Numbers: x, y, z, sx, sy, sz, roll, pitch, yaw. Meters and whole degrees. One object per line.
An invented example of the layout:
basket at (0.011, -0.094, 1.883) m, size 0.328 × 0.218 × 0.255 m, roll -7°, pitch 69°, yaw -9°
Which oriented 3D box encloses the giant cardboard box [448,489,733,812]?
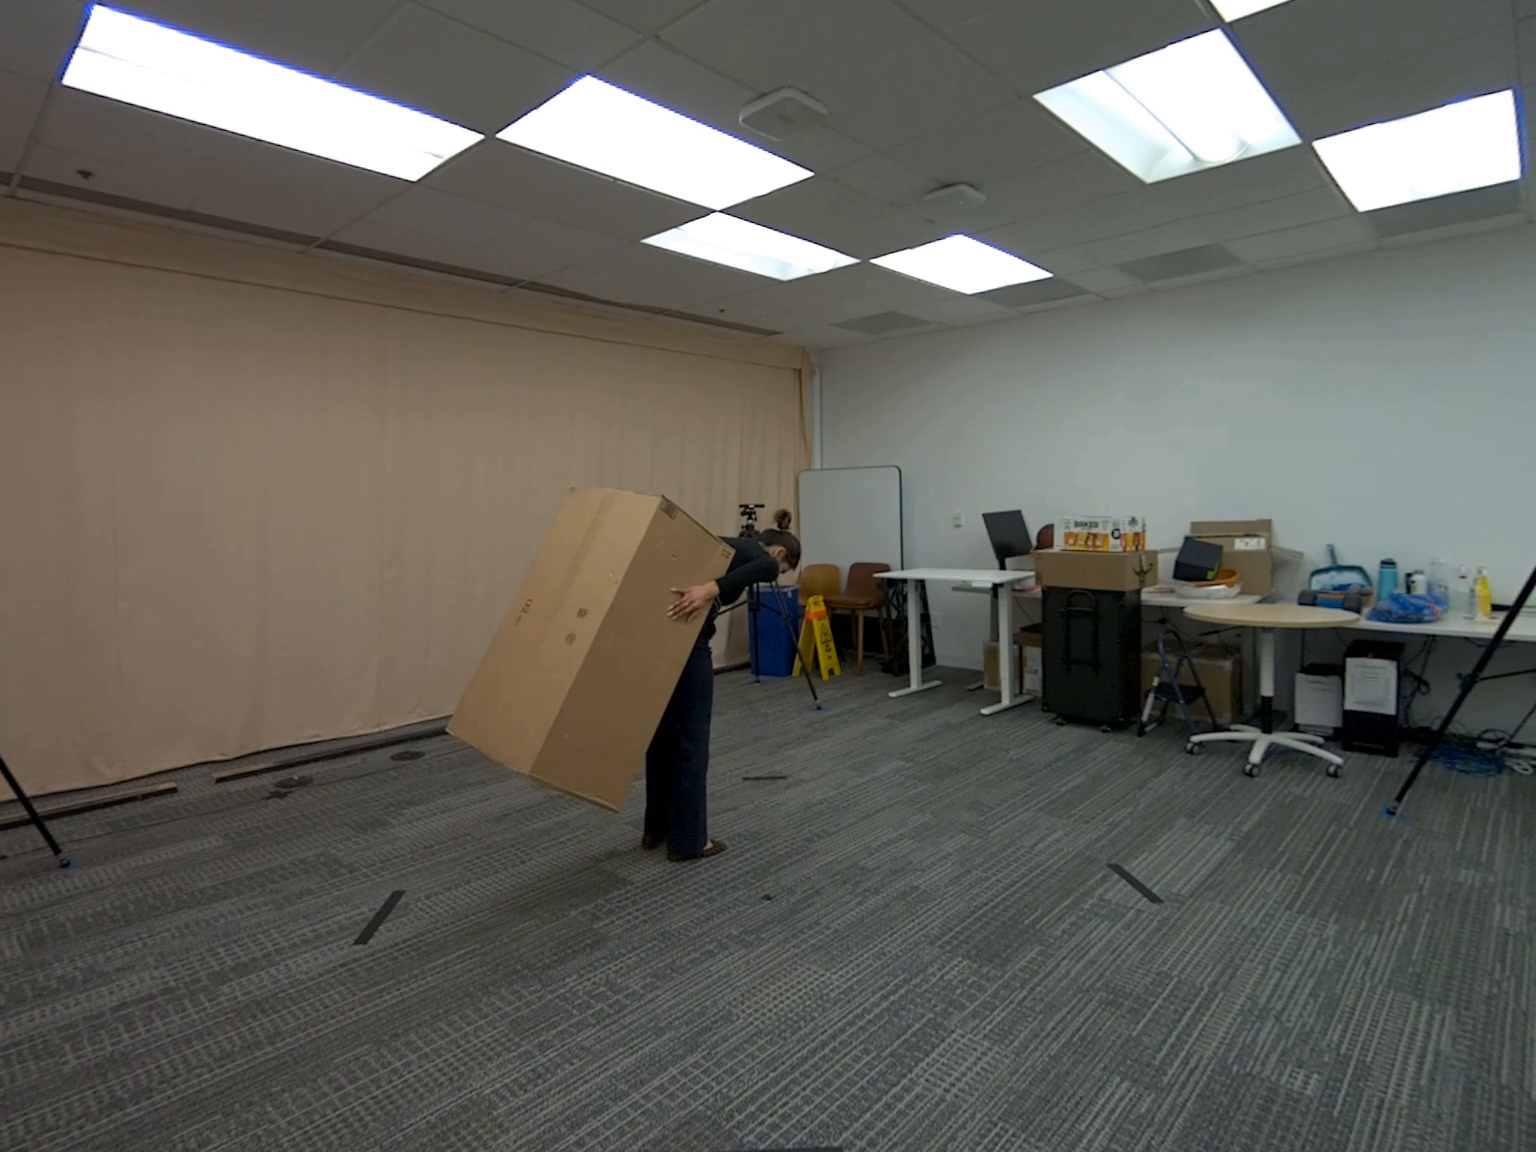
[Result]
giant cardboard box at (-0.636, 0.234, 3.079) m, size 0.597 × 1.028 × 0.411 m, roll 8°, pitch -21°, yaw 44°
